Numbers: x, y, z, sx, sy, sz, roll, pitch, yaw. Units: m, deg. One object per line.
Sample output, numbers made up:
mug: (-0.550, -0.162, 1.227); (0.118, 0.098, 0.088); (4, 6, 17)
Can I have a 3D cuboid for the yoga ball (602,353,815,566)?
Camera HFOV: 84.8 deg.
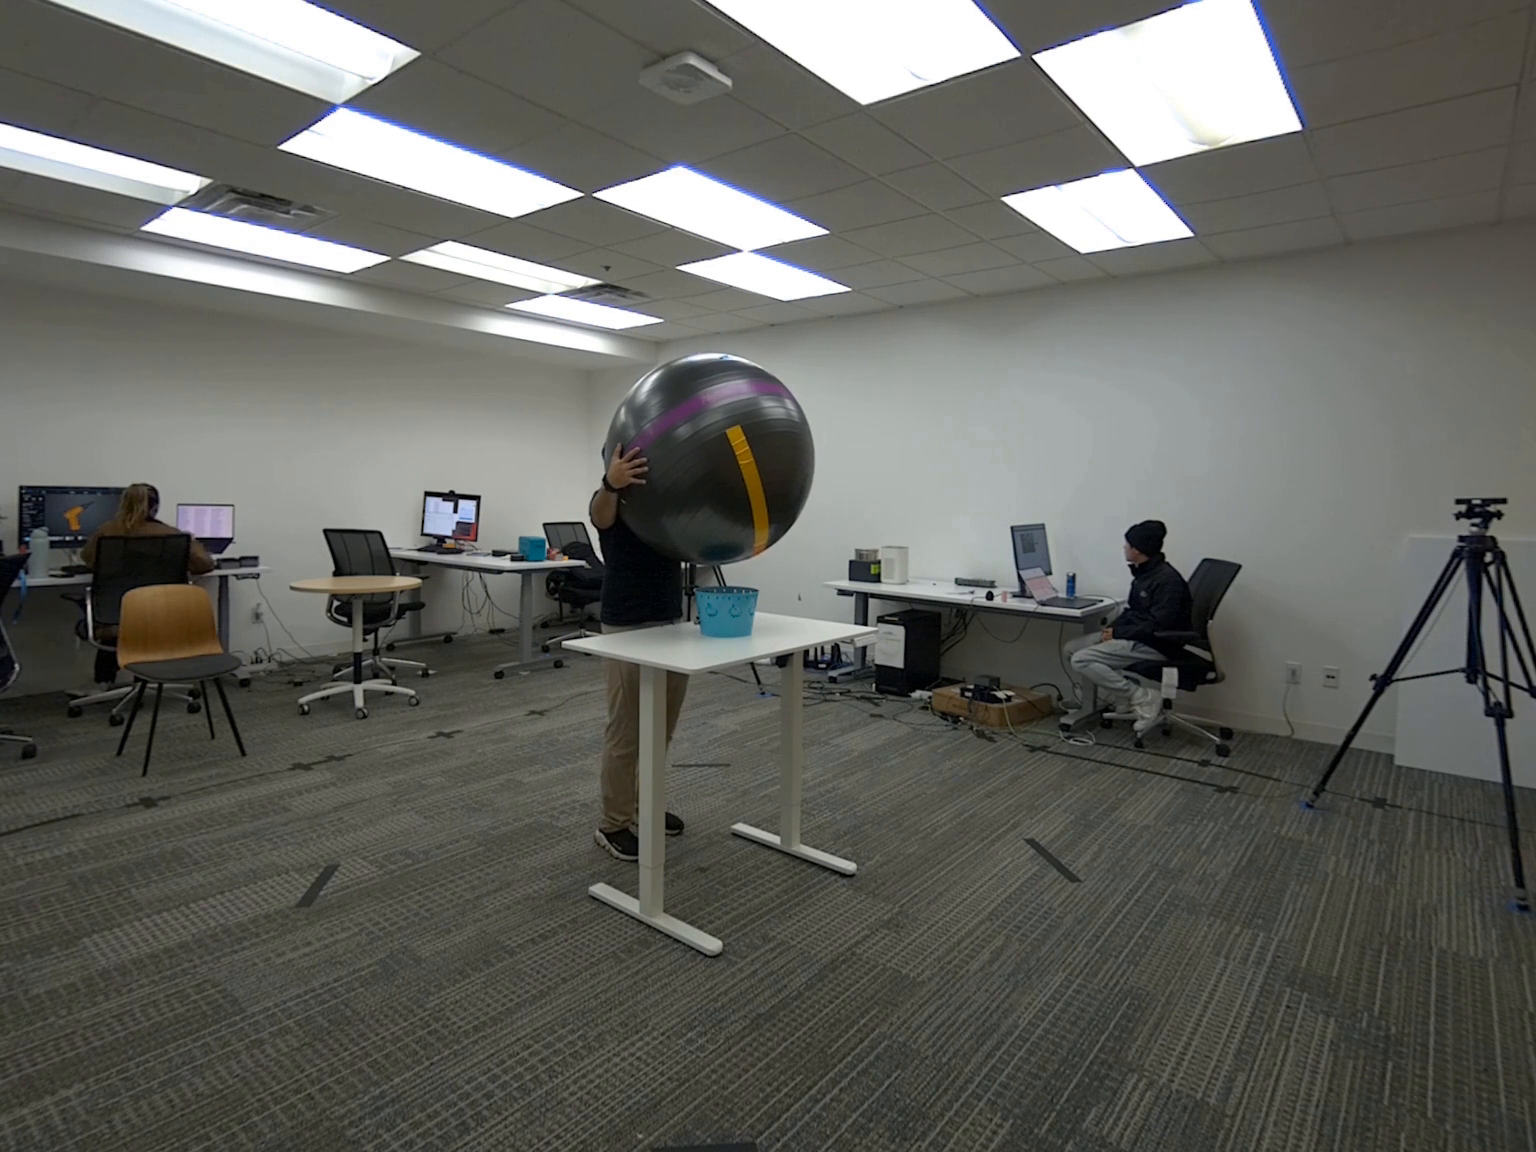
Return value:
yoga ball: (-0.220, -0.414, 3.059); (0.757, 0.755, 0.762); (1, 4, -2)
